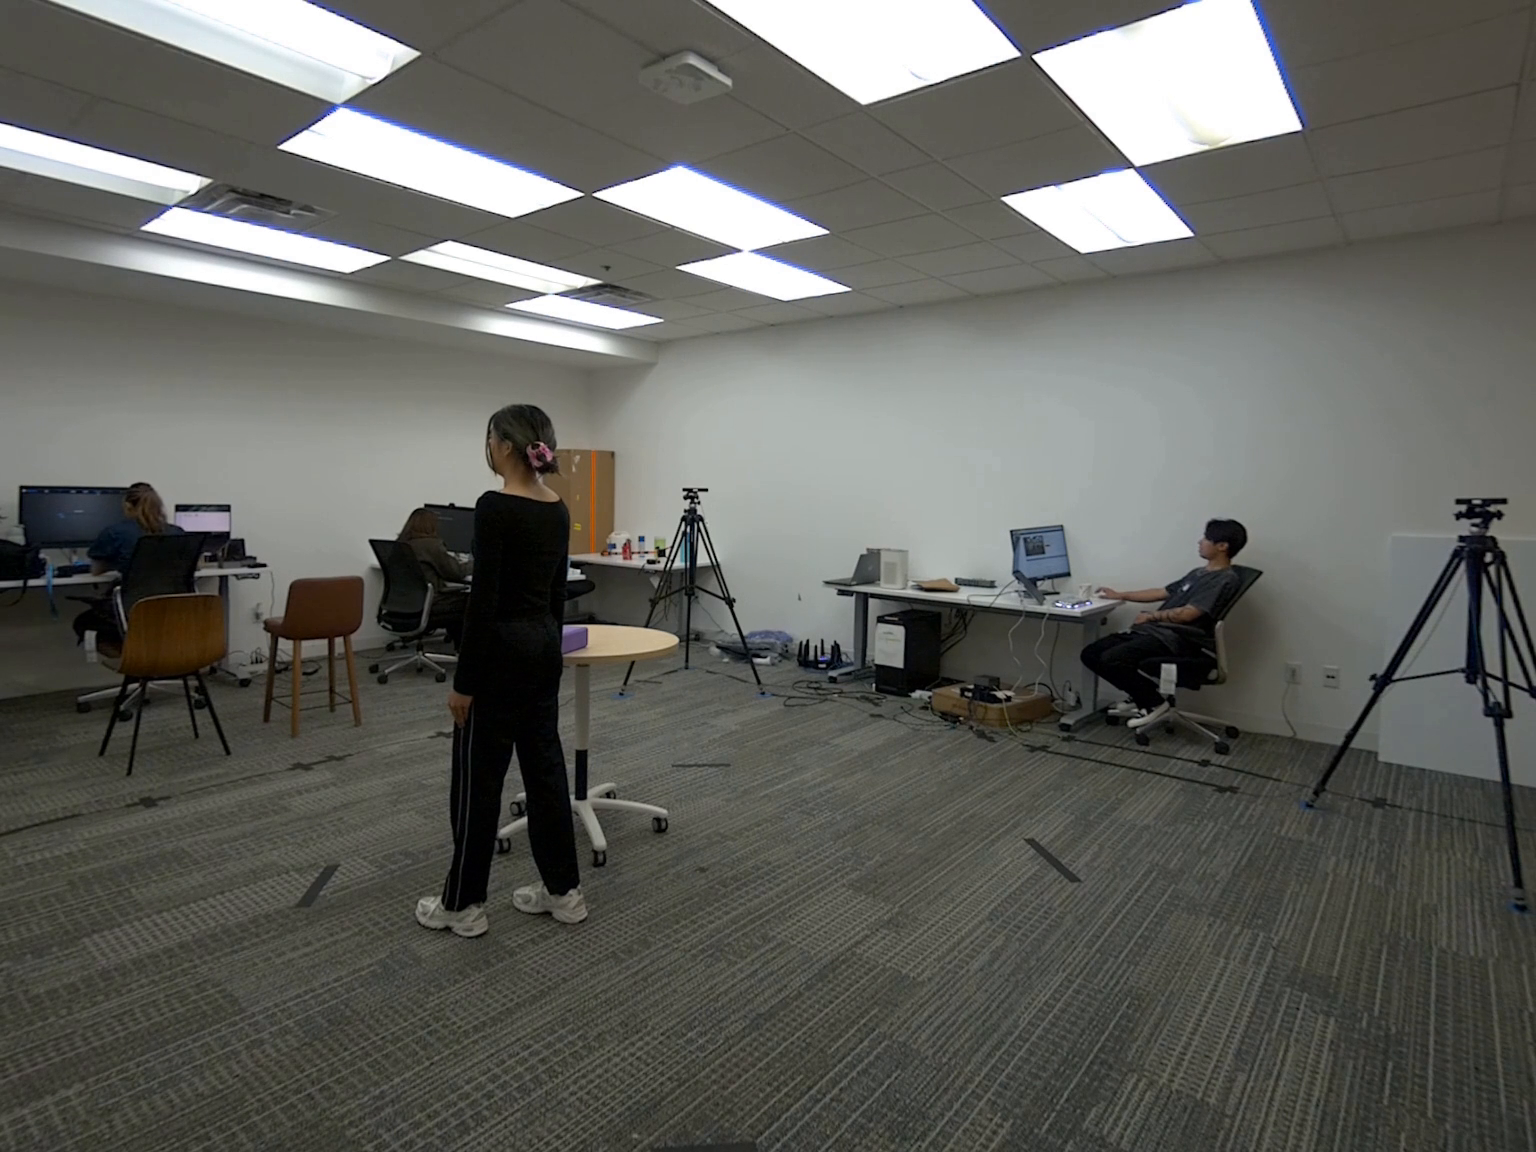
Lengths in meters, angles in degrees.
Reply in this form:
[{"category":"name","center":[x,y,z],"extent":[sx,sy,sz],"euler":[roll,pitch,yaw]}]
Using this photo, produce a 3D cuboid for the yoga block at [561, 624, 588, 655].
[{"category":"yoga block","center":[-0.795,0.234,3.132],"extent":[0.152,0.076,0.225],"euler":[1,4,18]}]
